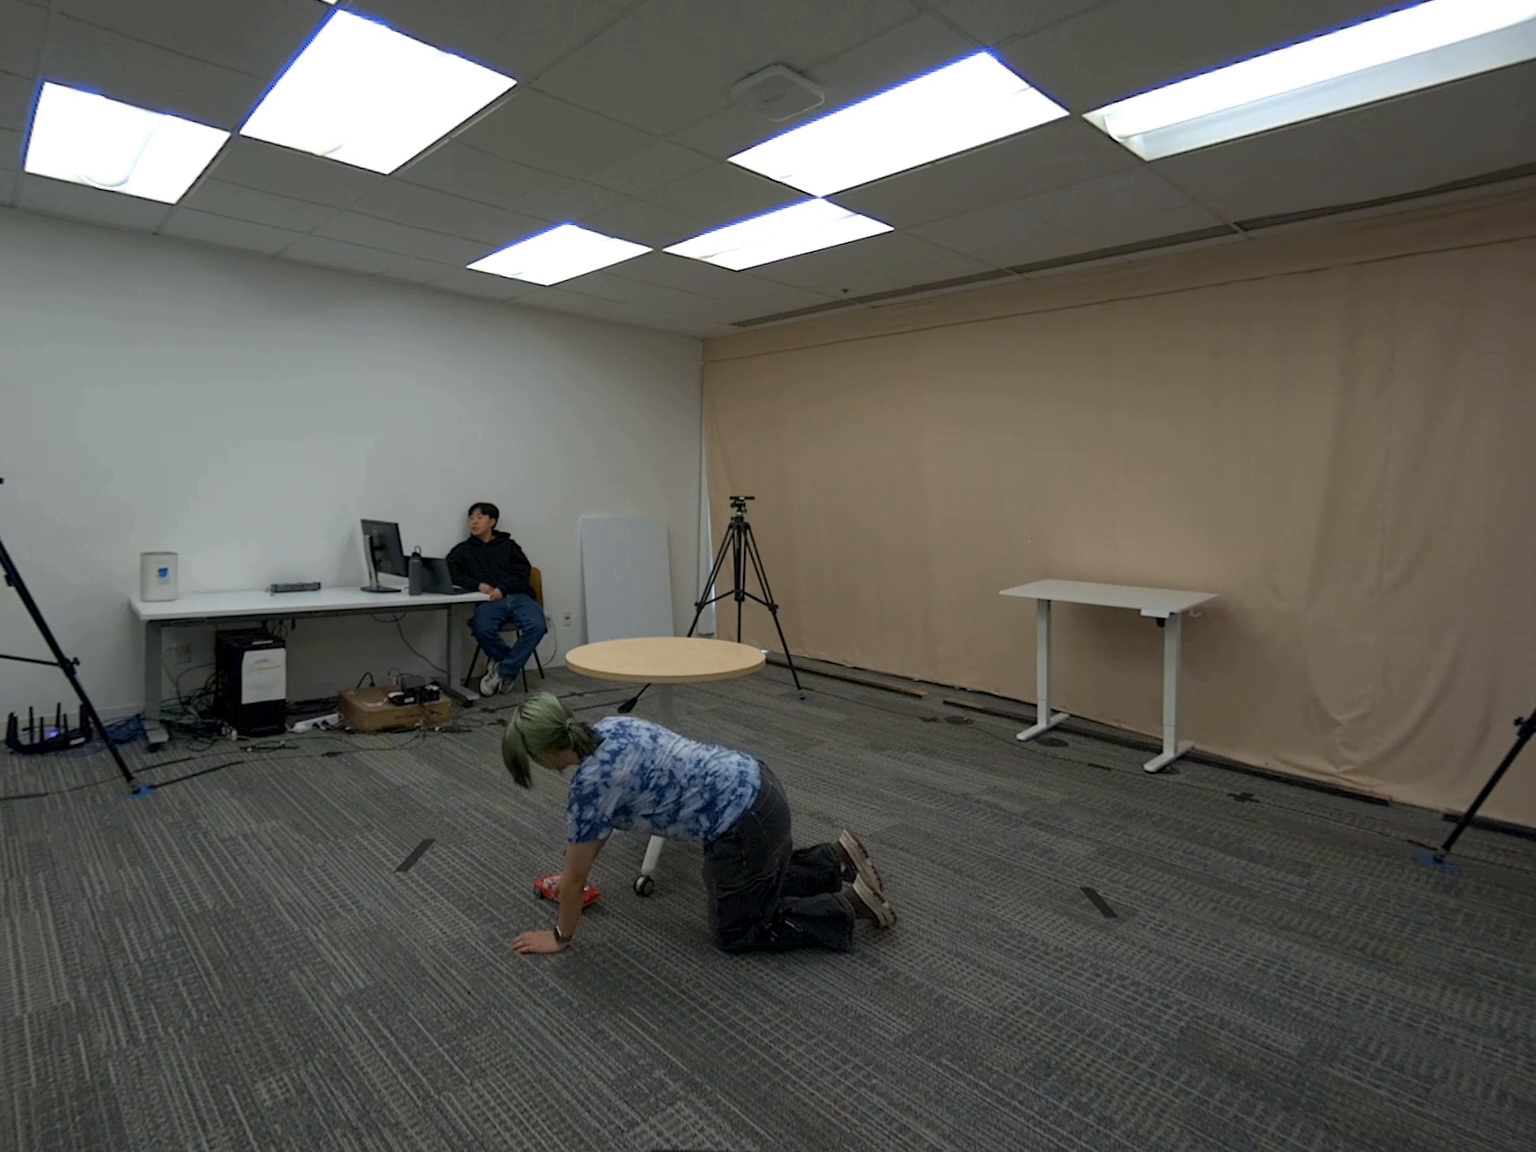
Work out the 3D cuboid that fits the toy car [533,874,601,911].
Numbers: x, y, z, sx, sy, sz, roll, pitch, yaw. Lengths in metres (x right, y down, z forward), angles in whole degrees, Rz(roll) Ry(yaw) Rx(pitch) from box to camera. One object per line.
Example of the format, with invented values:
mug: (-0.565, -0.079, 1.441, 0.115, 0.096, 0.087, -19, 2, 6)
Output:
toy car: (-0.707, 1.091, 2.884, 0.259, 0.083, 0.127, -7, -1, 35)
